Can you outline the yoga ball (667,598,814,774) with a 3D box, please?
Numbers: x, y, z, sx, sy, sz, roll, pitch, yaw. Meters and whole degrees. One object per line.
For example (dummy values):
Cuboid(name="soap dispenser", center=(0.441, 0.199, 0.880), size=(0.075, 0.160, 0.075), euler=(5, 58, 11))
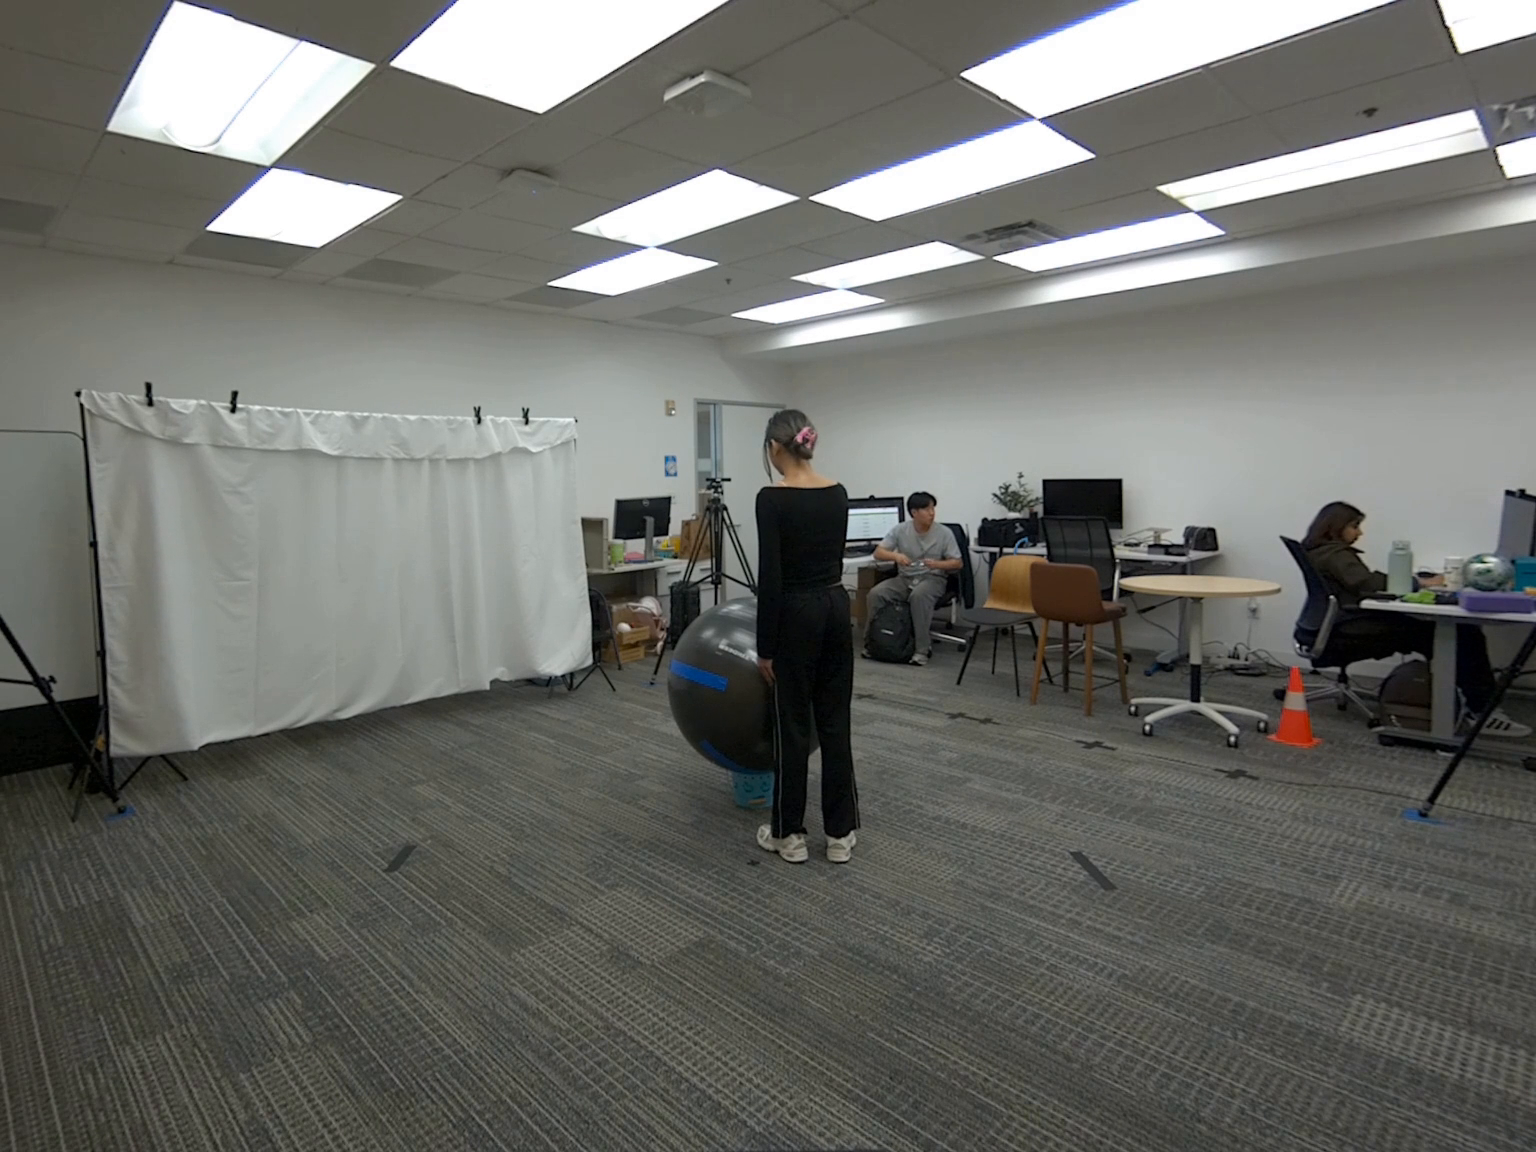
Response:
Cuboid(name="yoga ball", center=(-0.058, 0.464, 3.691), size=(0.757, 0.755, 0.762), euler=(-1, 5, -2))
